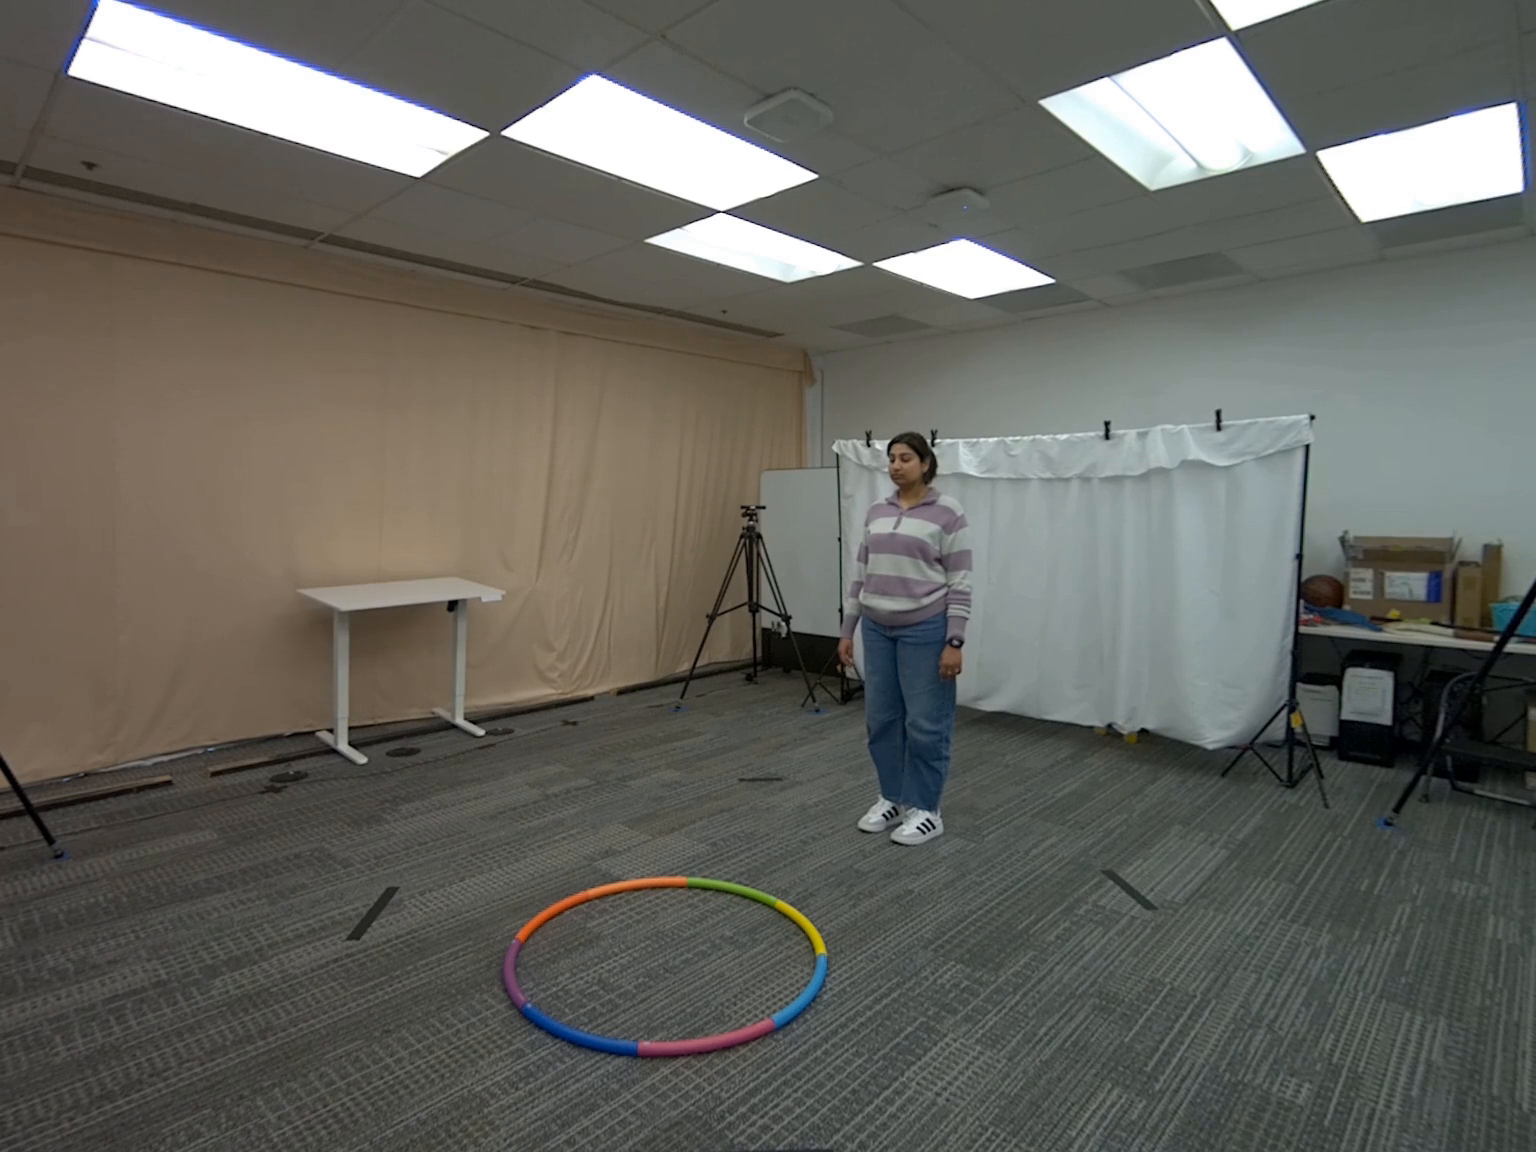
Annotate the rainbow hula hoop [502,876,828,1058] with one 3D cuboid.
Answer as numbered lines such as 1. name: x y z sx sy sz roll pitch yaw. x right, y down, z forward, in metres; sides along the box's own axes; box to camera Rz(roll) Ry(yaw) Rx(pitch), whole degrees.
1. rainbow hula hoop: -0.311 1.148 2.612 0.978 0.035 0.982 -1 4 -2
